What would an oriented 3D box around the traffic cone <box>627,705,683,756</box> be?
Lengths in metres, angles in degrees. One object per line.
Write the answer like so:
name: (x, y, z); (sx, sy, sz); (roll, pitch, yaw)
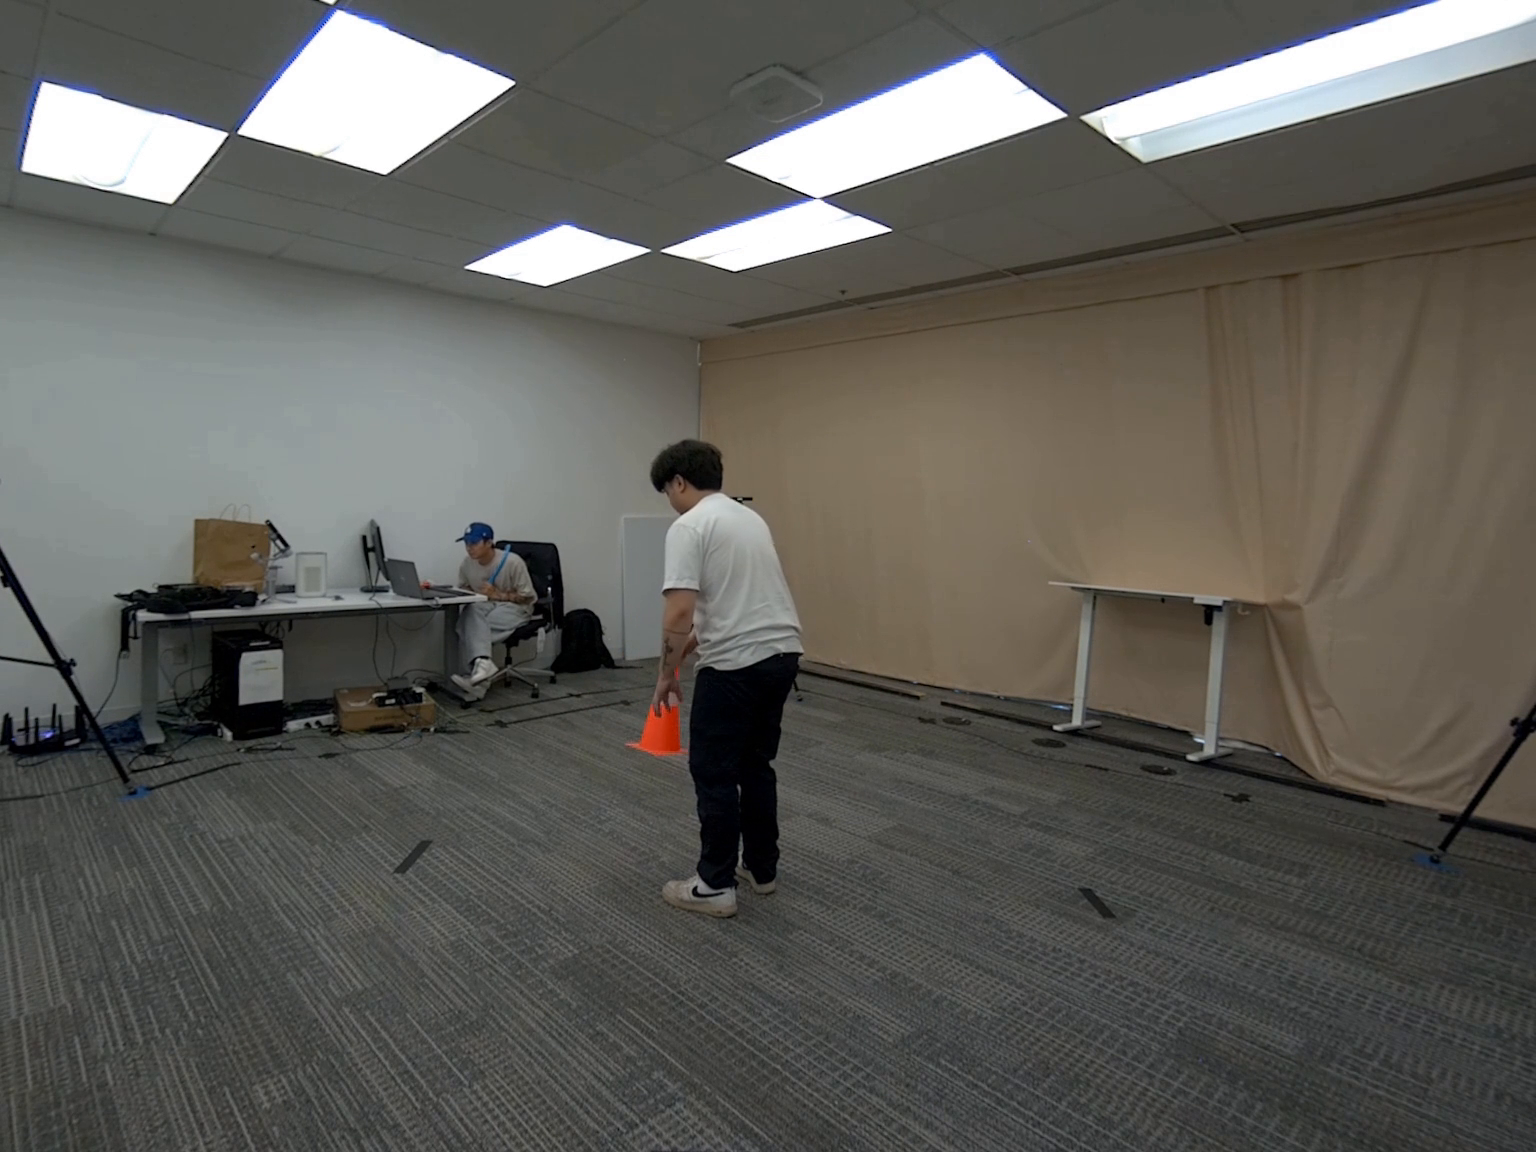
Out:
traffic cone: (-0.394, 0.477, 3.233); (0.199, 0.385, 0.208); (16, -8, -42)
